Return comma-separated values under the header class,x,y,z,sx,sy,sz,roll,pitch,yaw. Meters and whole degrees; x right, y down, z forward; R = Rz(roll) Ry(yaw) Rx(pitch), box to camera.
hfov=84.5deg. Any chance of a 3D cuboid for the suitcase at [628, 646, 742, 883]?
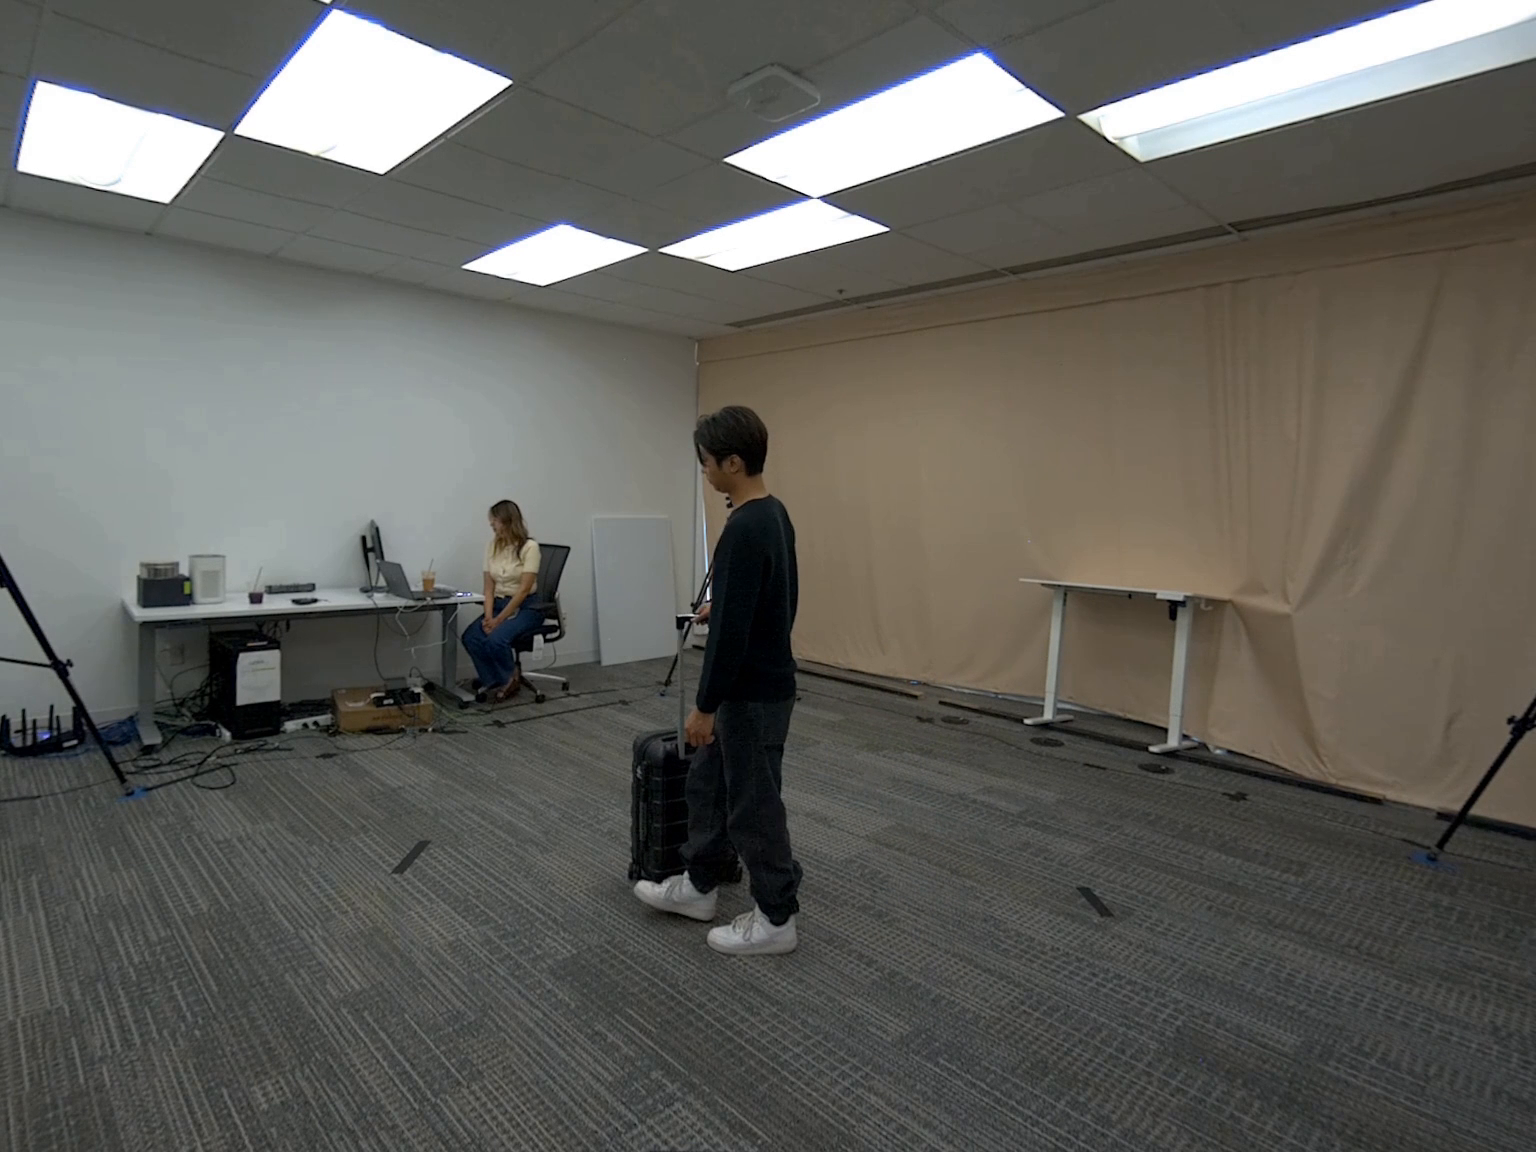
class,x,y,z,sx,sy,sz,roll,pitch,yaw
suitcase,-0.311,0.632,3.059,0.376,0.977,0.263,-1,2,-34
